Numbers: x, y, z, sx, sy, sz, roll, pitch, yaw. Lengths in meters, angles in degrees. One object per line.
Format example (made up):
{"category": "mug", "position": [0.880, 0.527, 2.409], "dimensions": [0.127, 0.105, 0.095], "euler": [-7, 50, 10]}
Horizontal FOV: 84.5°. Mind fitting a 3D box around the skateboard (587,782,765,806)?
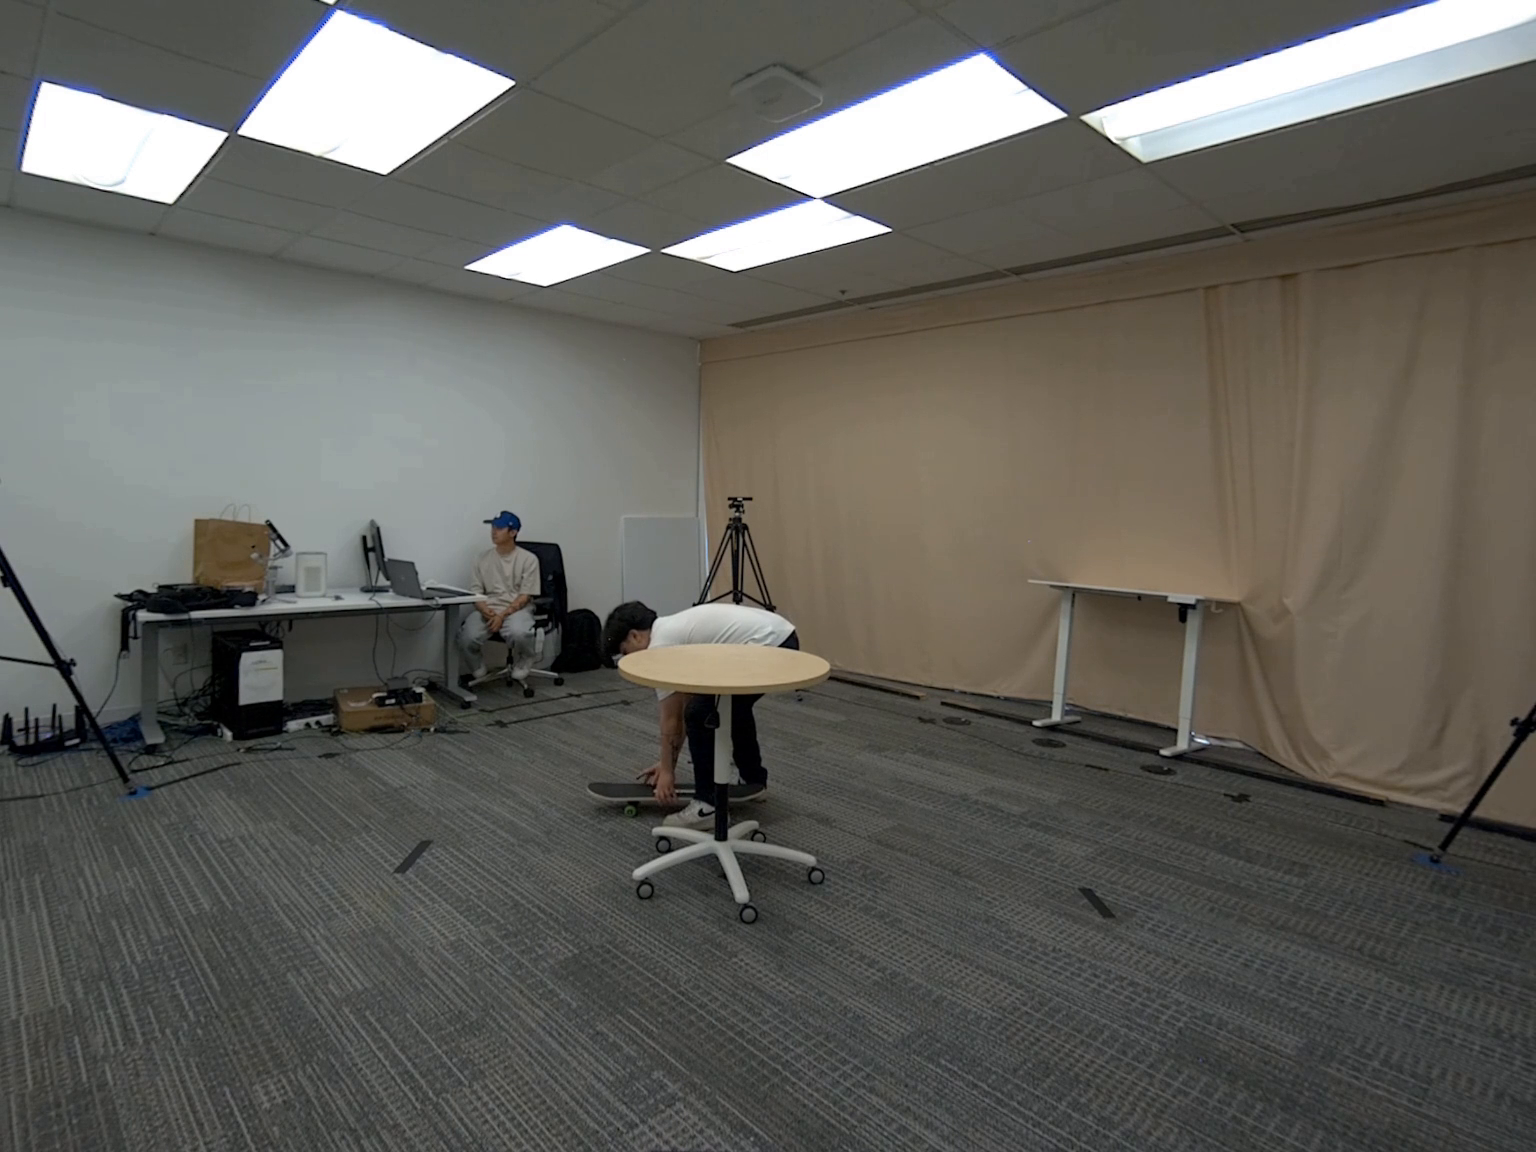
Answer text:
{"category": "skateboard", "position": [-0.420, 0.990, 3.753], "dimensions": [0.783, 0.110, 0.195], "euler": [2, 6, -4]}
